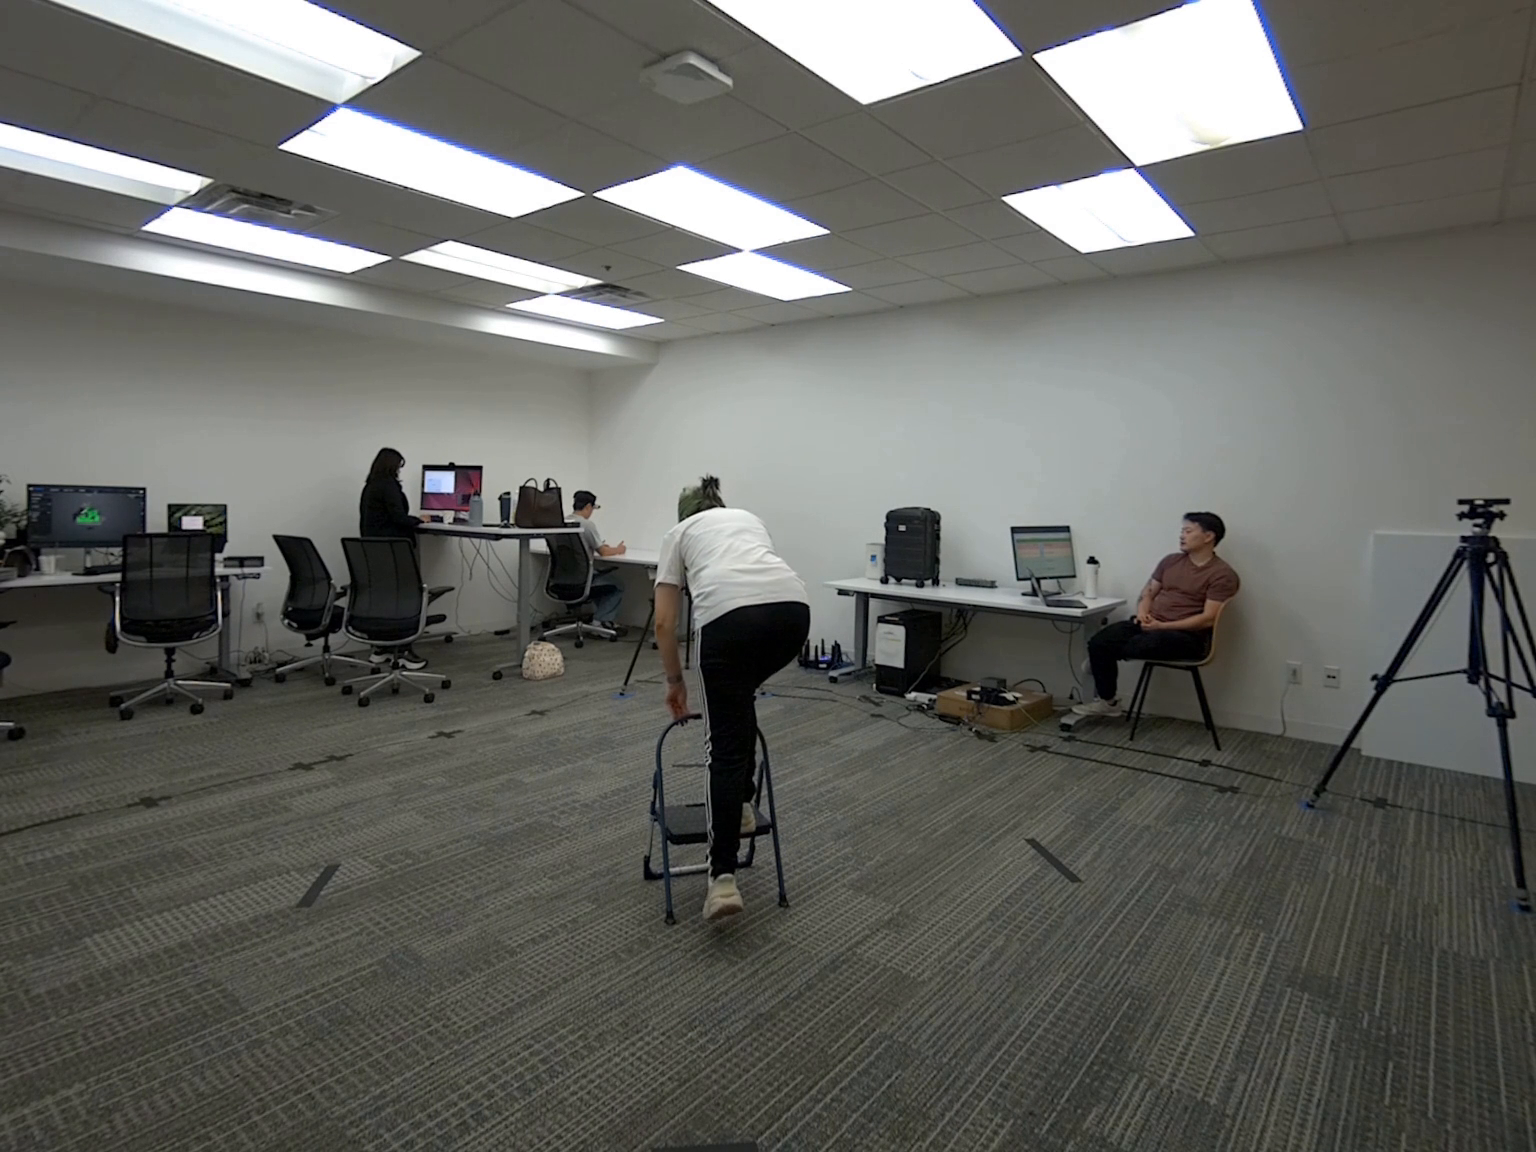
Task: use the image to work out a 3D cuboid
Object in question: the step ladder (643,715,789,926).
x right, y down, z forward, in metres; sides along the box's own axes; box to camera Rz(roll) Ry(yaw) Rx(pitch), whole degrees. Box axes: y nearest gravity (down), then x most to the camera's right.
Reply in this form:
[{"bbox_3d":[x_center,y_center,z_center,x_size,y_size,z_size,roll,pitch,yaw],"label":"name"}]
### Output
[{"bbox_3d":[-0.195,0.789,2.921,0.421,0.604,0.358,0,4,-22],"label":"step ladder"}]
